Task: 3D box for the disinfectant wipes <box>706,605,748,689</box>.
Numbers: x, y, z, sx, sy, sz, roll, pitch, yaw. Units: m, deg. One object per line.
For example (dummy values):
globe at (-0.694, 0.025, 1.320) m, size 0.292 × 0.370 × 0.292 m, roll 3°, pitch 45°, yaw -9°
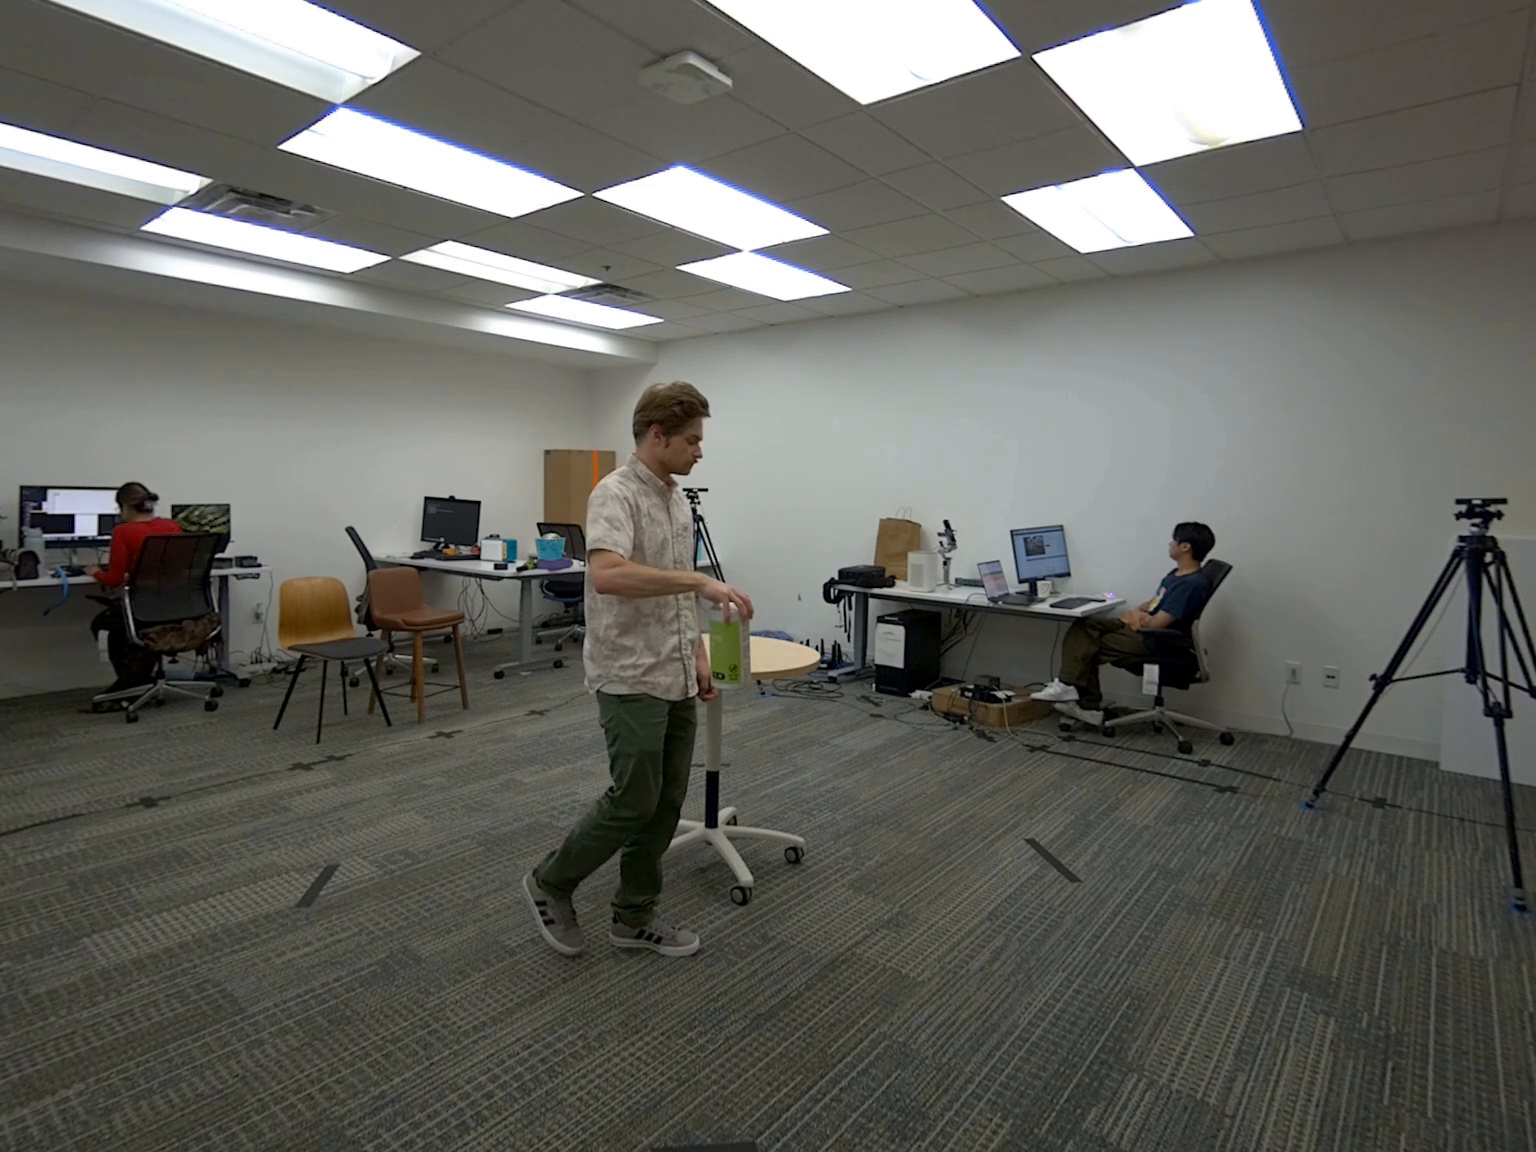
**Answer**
disinfectant wipes at (-0.106, 0.187, 2.274) m, size 0.118 × 0.216 × 0.119 m, roll -1°, pitch 7°, yaw -2°
